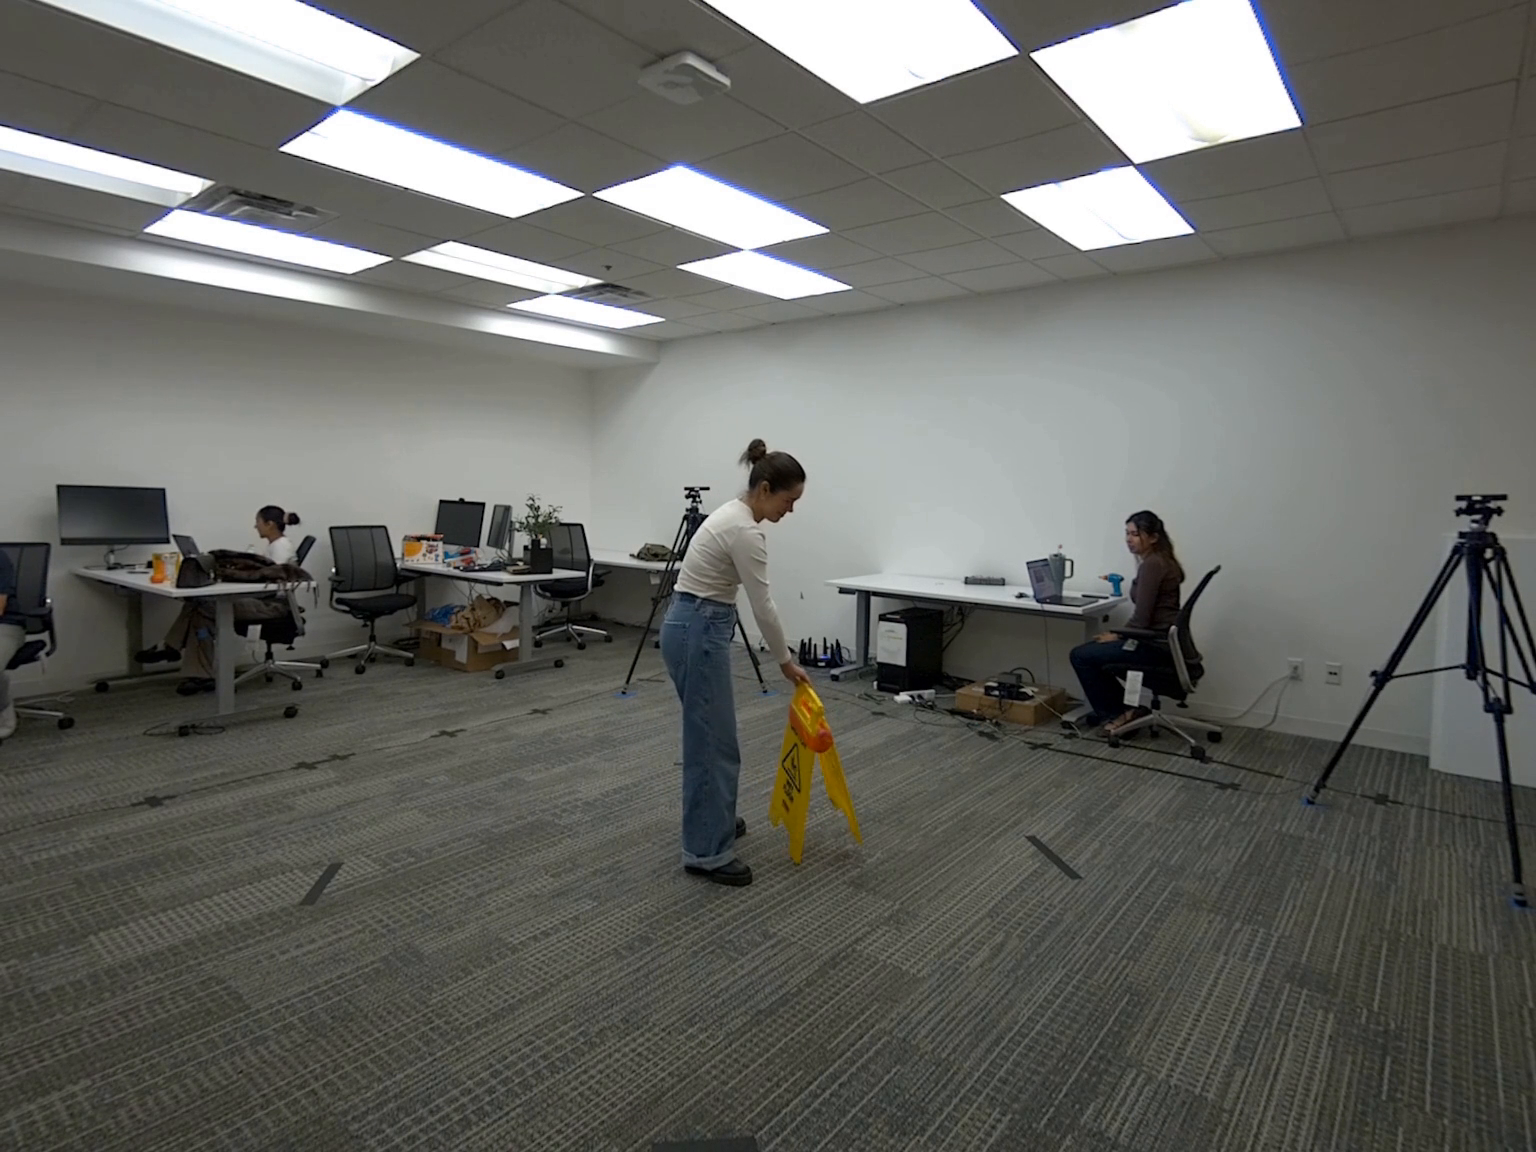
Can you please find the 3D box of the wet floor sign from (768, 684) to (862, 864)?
[{"bbox_3d":[0.155,0.705,3.183,0.286,0.632,0.292,-11,24,-16],"label":"wet floor sign"}]
